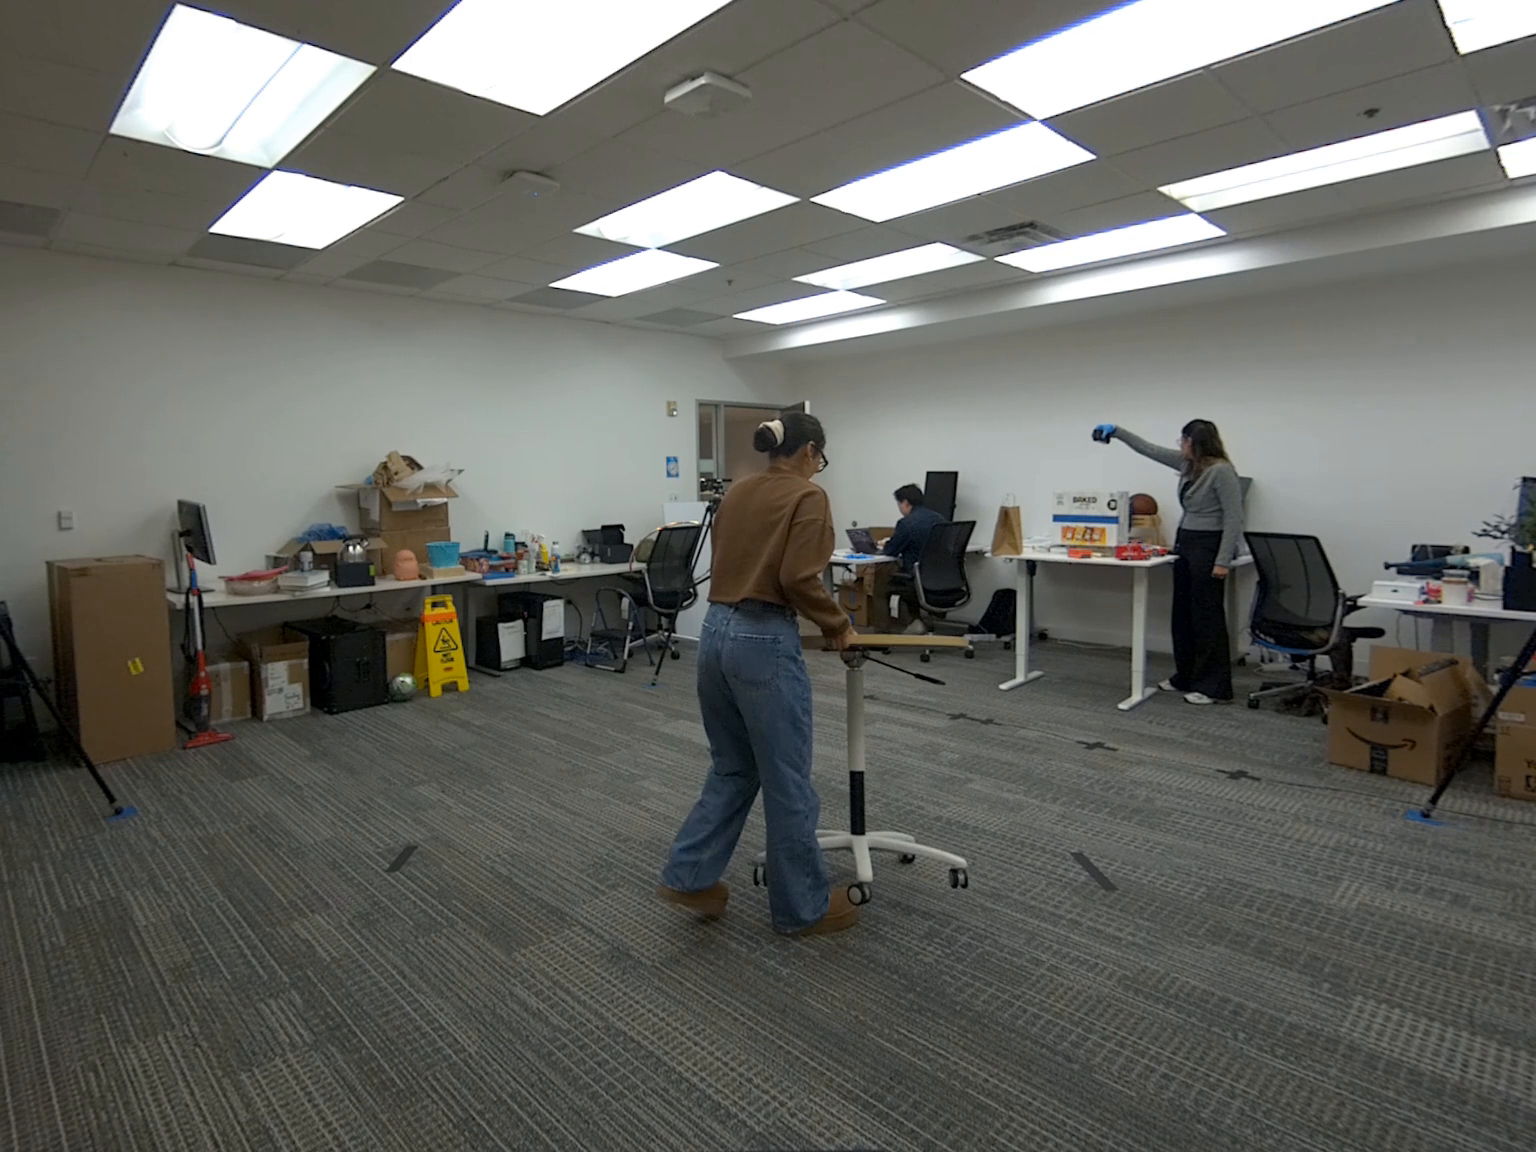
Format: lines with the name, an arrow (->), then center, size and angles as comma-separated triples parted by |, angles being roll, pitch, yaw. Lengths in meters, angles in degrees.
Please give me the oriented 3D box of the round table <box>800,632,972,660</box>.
round table -> 0.308, 0.619, 2.903 | 0.763, 0.800, 0.759 | 0, -7, -2
